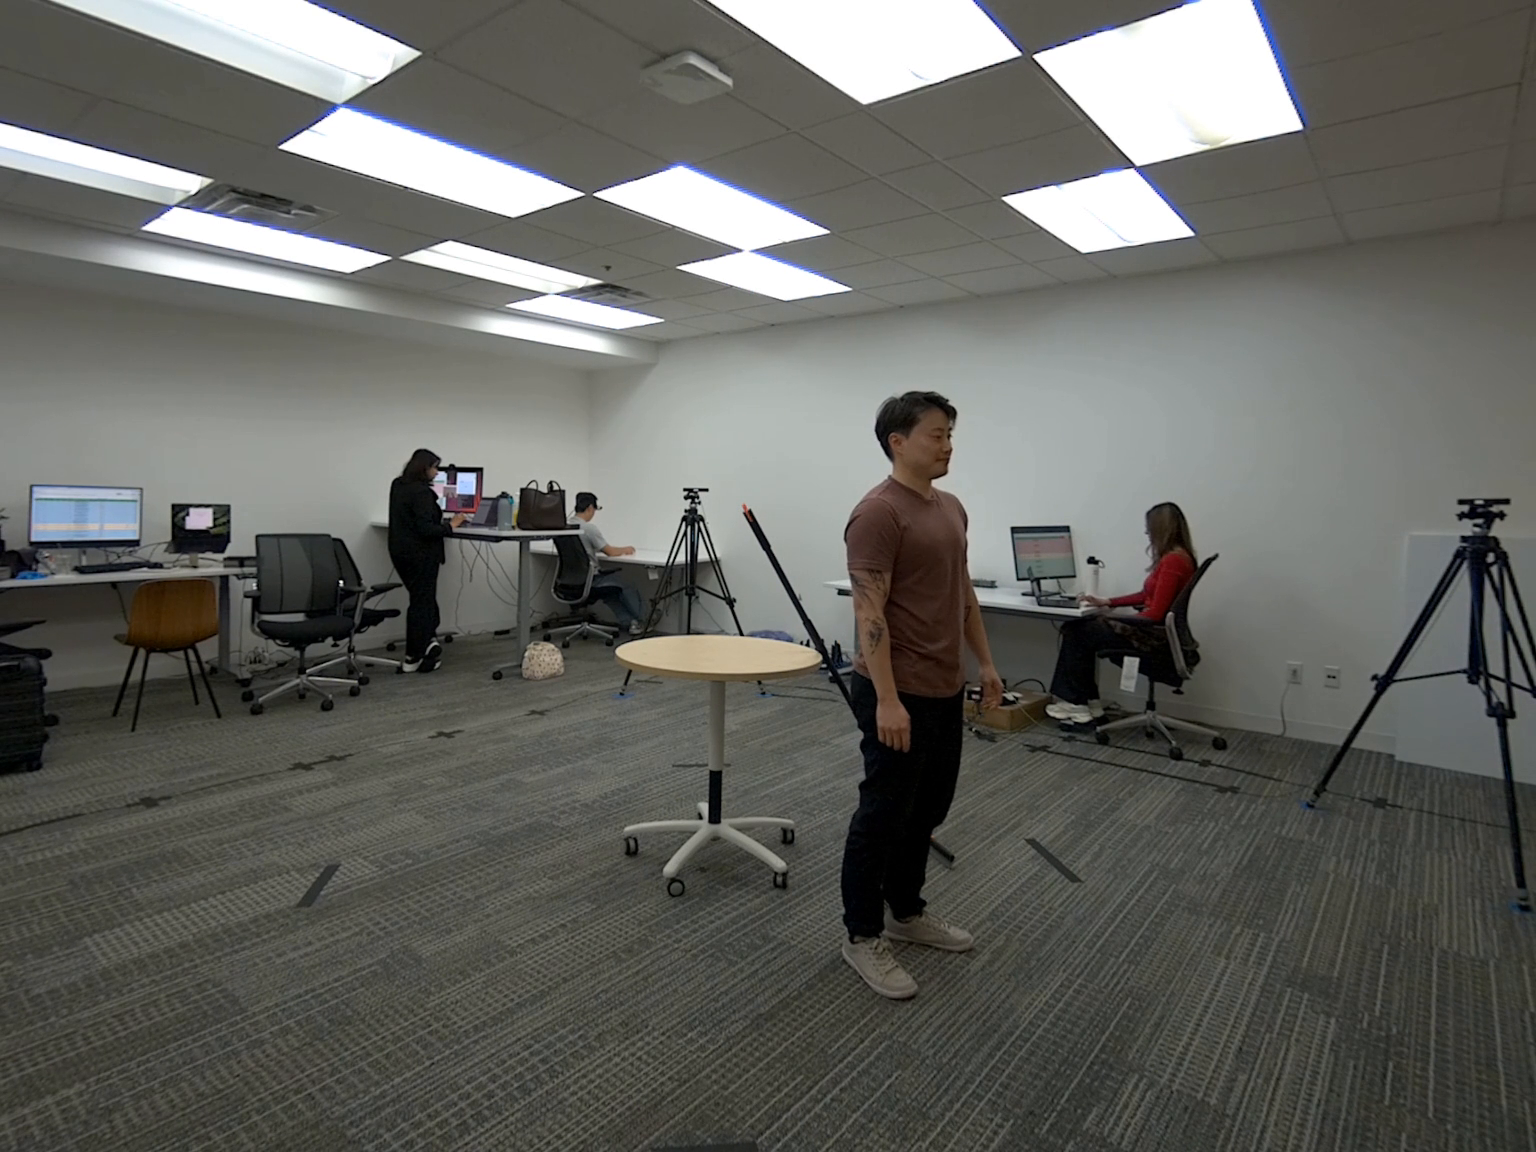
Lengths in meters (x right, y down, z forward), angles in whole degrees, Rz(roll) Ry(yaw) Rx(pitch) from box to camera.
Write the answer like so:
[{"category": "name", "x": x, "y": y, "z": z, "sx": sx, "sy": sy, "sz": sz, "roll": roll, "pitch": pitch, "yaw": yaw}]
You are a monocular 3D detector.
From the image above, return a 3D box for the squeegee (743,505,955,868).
[{"category": "squeegee", "x": 0.268, "y": 0.378, "z": 3.244, "sx": 0.053, "sy": 1.520, "sz": 0.445, "roll": -30, "pitch": 9, "yaw": -11}]
